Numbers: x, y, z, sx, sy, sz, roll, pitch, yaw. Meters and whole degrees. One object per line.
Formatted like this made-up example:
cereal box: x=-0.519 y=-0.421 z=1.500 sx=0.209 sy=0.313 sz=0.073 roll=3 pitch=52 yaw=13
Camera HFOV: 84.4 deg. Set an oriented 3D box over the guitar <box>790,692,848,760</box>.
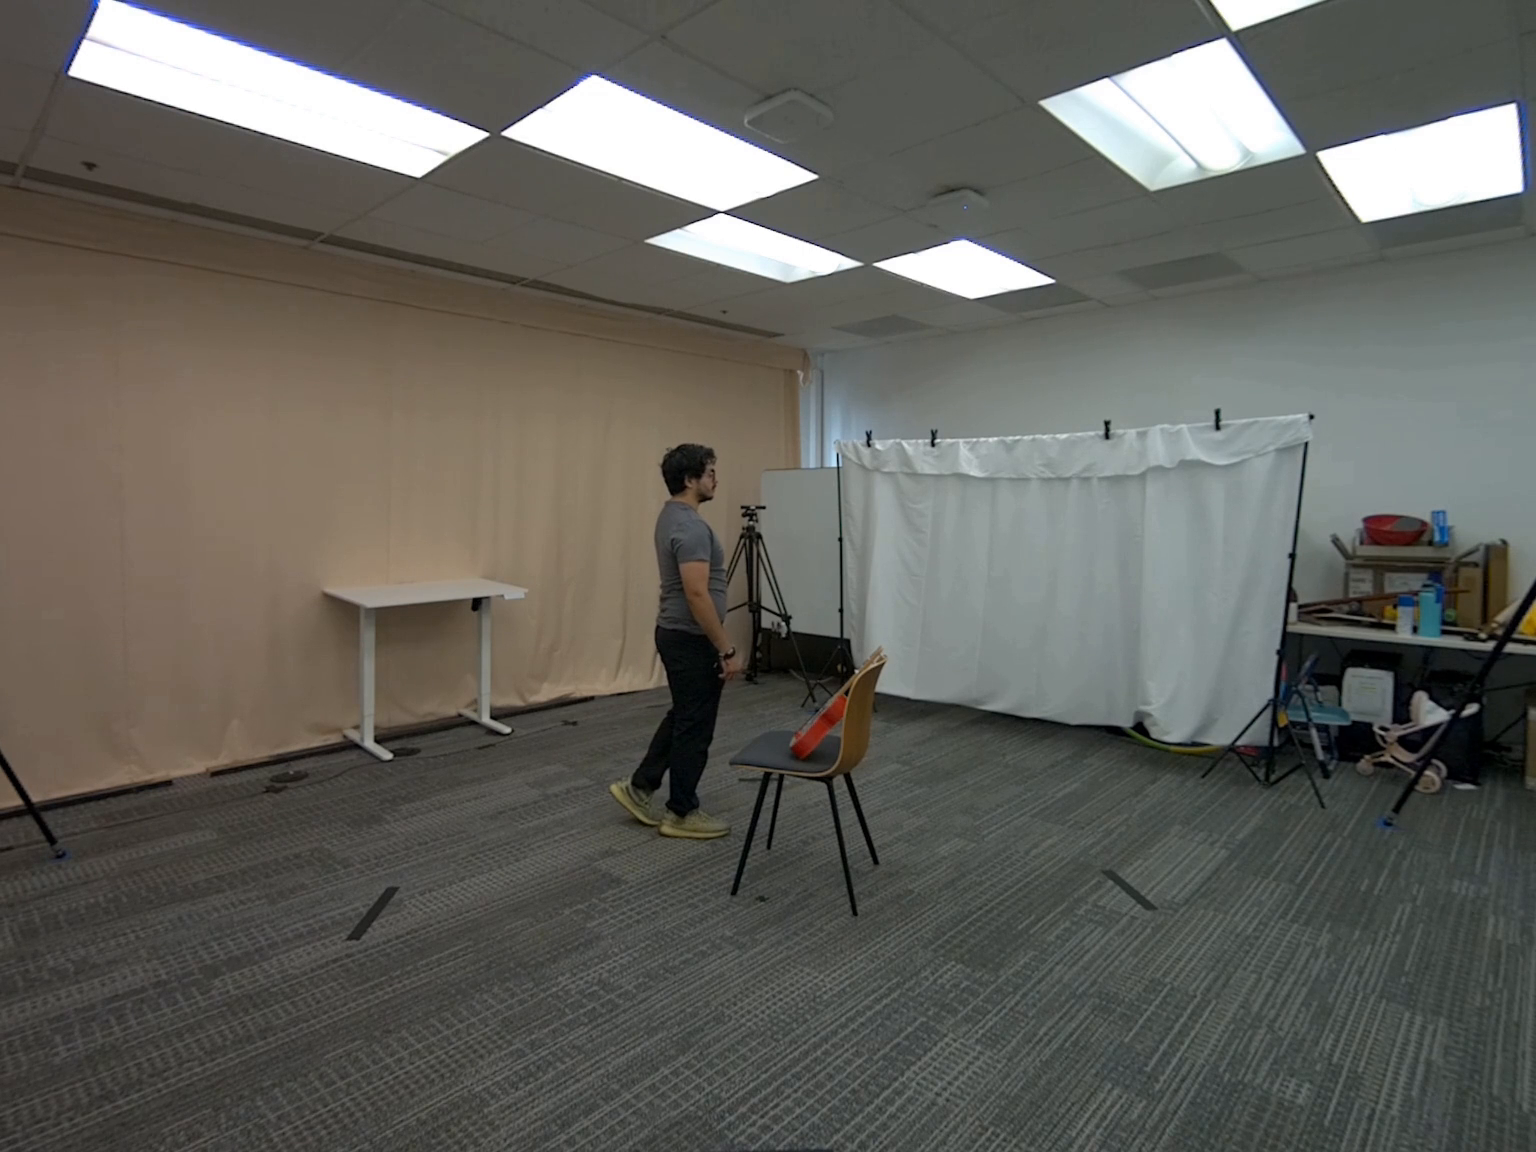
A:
guitar: x=0.258 y=0.461 z=3.030 sx=0.071 sy=0.499 sz=0.191 roll=43 pitch=13 yaw=2
